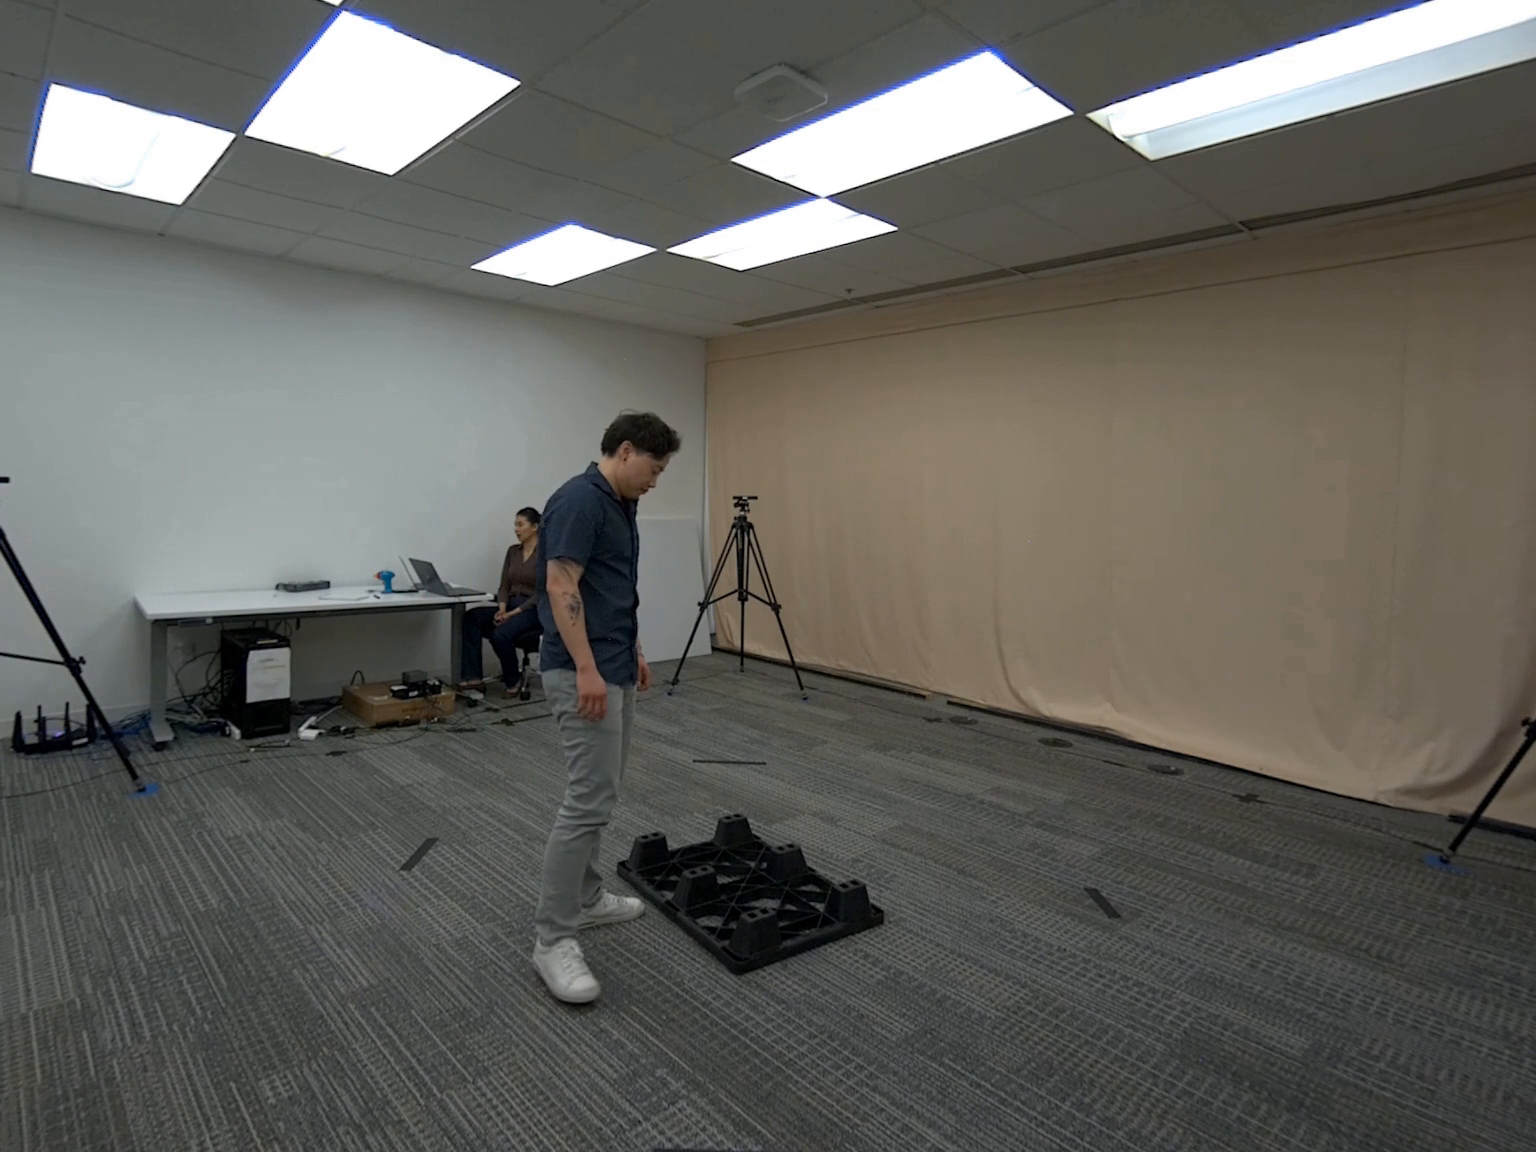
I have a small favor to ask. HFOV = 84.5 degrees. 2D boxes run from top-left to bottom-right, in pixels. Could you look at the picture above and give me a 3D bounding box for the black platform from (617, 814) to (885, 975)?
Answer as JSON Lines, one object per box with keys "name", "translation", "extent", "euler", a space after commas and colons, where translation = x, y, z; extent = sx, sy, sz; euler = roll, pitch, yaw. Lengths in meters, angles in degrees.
{"name": "black platform", "translation": [-0.096, 1.055, 2.932], "extent": [0.592, 0.143, 0.825], "euler": [-2, 6, -36]}
